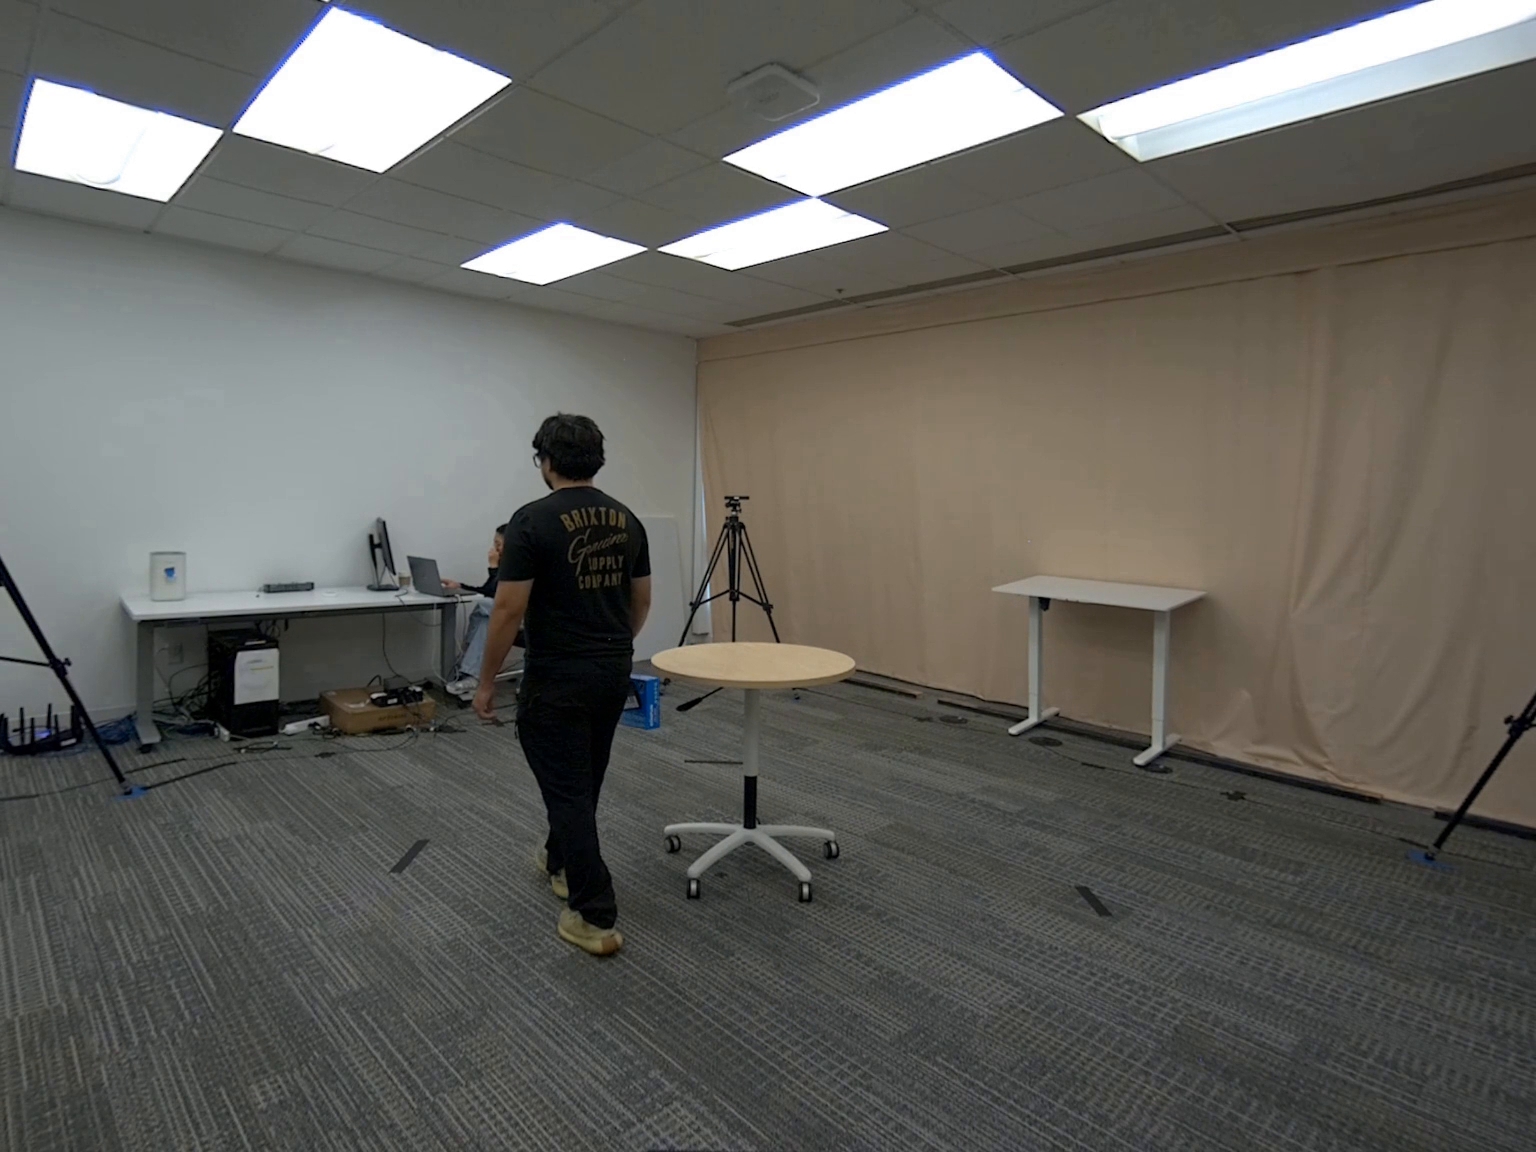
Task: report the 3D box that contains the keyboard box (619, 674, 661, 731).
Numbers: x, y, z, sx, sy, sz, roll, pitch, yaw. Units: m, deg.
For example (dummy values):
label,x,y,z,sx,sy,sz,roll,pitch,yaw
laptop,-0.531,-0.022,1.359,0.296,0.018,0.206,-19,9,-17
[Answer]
label,x,y,z,sx,sy,sz,roll,pitch,yaw
keyboard box,-0.551,0.438,3.035,0.058,0.176,0.447,-1,1,-45
